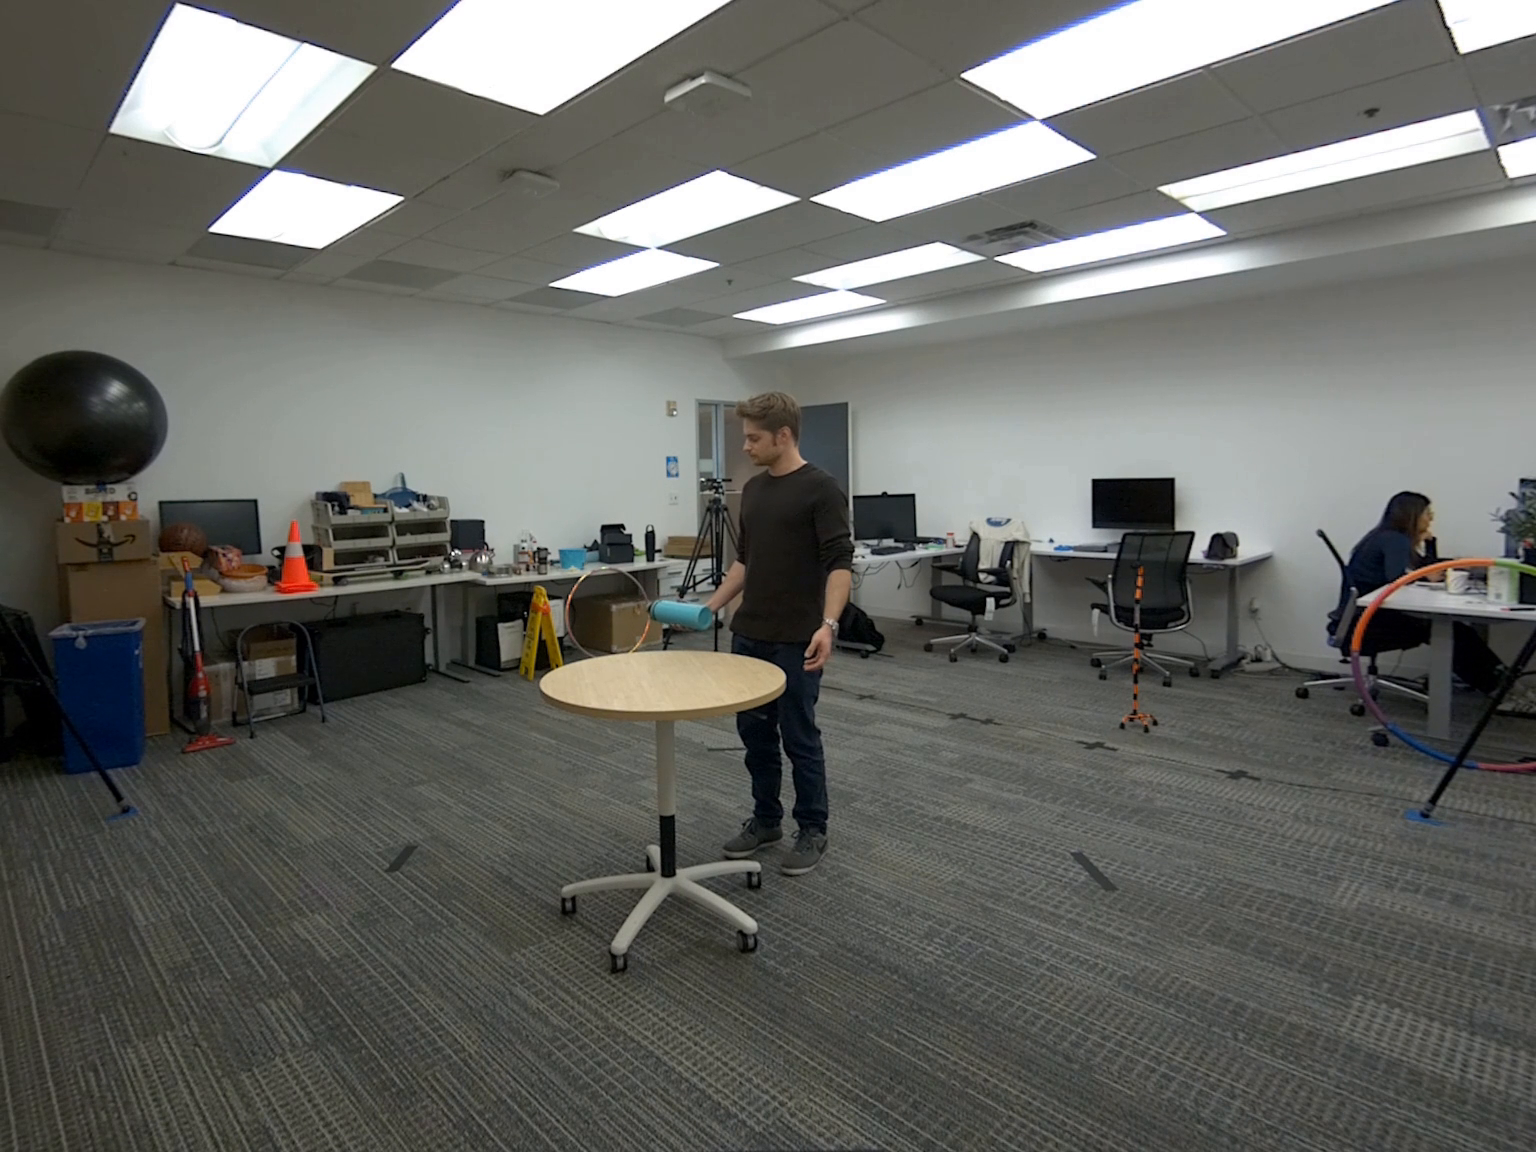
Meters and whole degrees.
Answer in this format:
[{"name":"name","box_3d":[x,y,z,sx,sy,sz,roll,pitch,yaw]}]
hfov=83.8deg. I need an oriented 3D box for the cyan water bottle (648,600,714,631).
[{"name":"cyan water bottle","box_3d":[-0.342,0.141,3.237,0.292,0.092,0.090,5,7,37]}]
